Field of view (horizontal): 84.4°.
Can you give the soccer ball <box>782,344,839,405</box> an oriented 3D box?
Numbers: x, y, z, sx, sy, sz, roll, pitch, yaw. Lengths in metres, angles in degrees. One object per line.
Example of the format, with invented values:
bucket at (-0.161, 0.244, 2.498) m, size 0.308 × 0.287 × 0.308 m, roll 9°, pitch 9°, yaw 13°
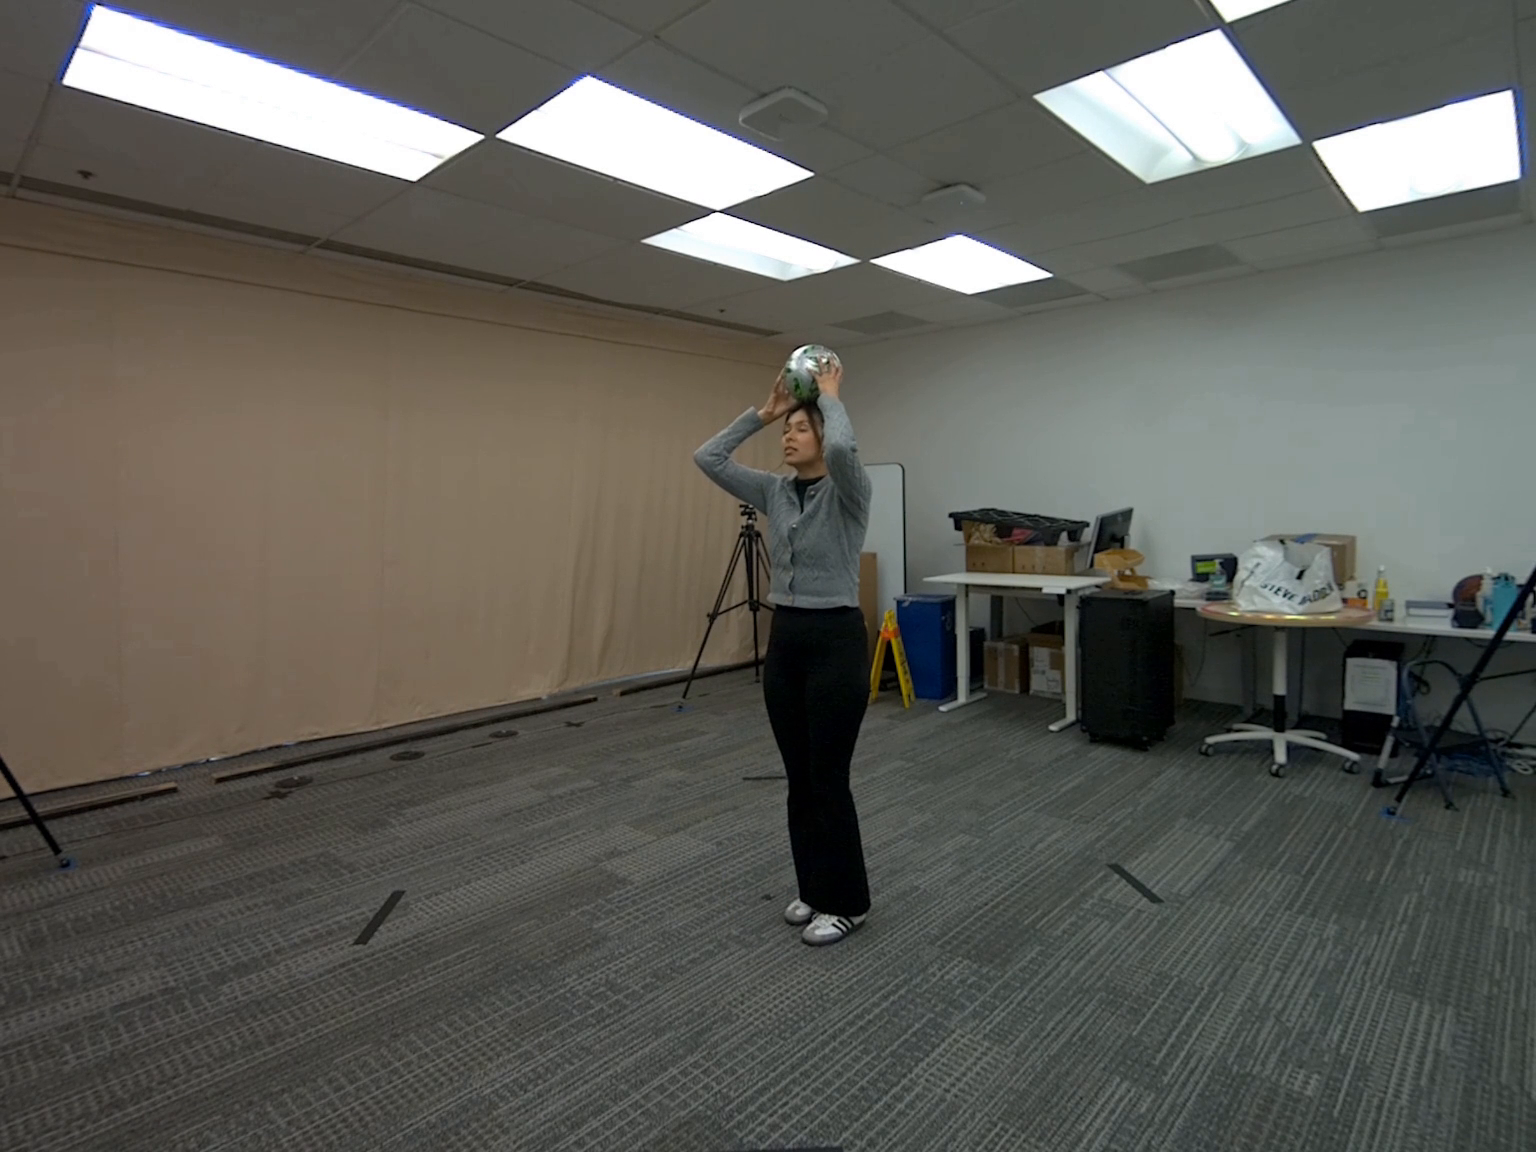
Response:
soccer ball at (0.148, -0.643, 2.696) m, size 0.187 × 0.187 × 0.188 m, roll -1°, pitch 4°, yaw -2°
